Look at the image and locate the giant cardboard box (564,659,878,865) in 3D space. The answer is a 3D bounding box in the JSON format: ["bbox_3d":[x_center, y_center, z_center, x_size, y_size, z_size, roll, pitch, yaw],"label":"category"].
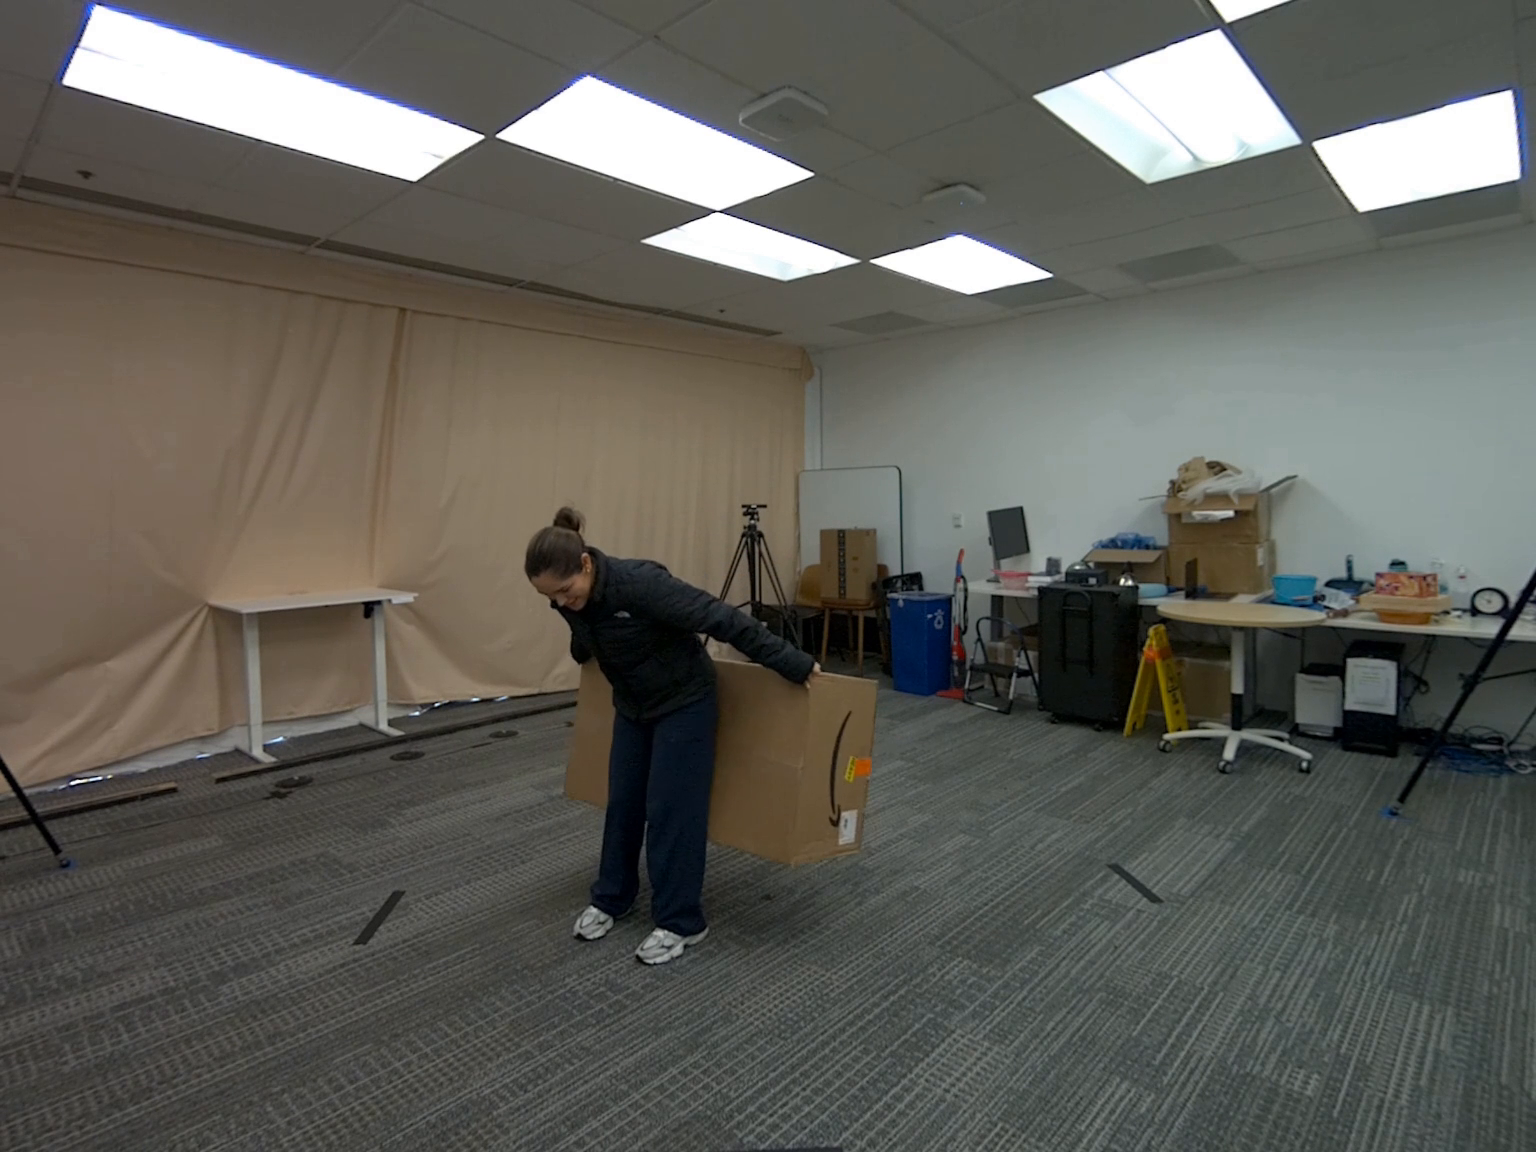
[{"bbox_3d":[-0.174,0.593,3.008,1.059,0.579,0.411,2,-8,37],"label":"giant cardboard box"}]
